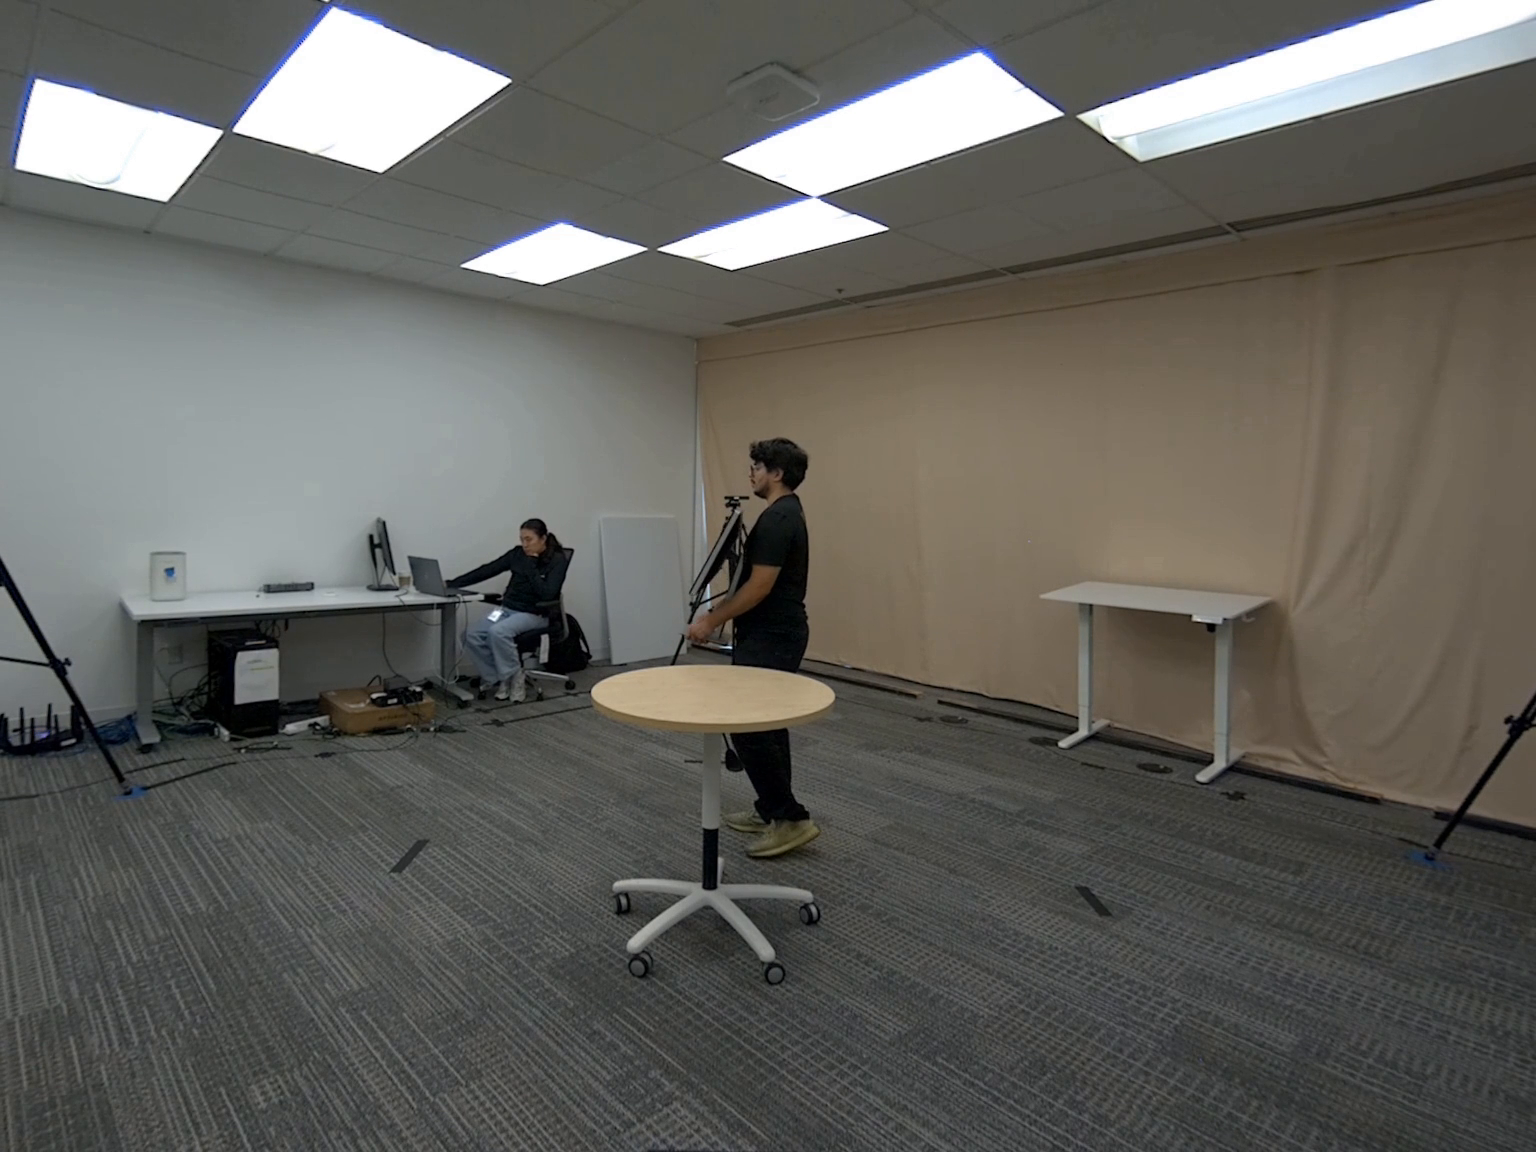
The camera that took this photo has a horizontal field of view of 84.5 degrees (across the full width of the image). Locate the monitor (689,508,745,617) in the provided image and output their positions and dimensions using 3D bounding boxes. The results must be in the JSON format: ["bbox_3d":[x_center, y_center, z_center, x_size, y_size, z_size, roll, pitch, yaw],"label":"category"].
[{"bbox_3d":[-0.171,0.002,3.427,0.210,0.553,0.566,22,5,0],"label":"monitor"}]
